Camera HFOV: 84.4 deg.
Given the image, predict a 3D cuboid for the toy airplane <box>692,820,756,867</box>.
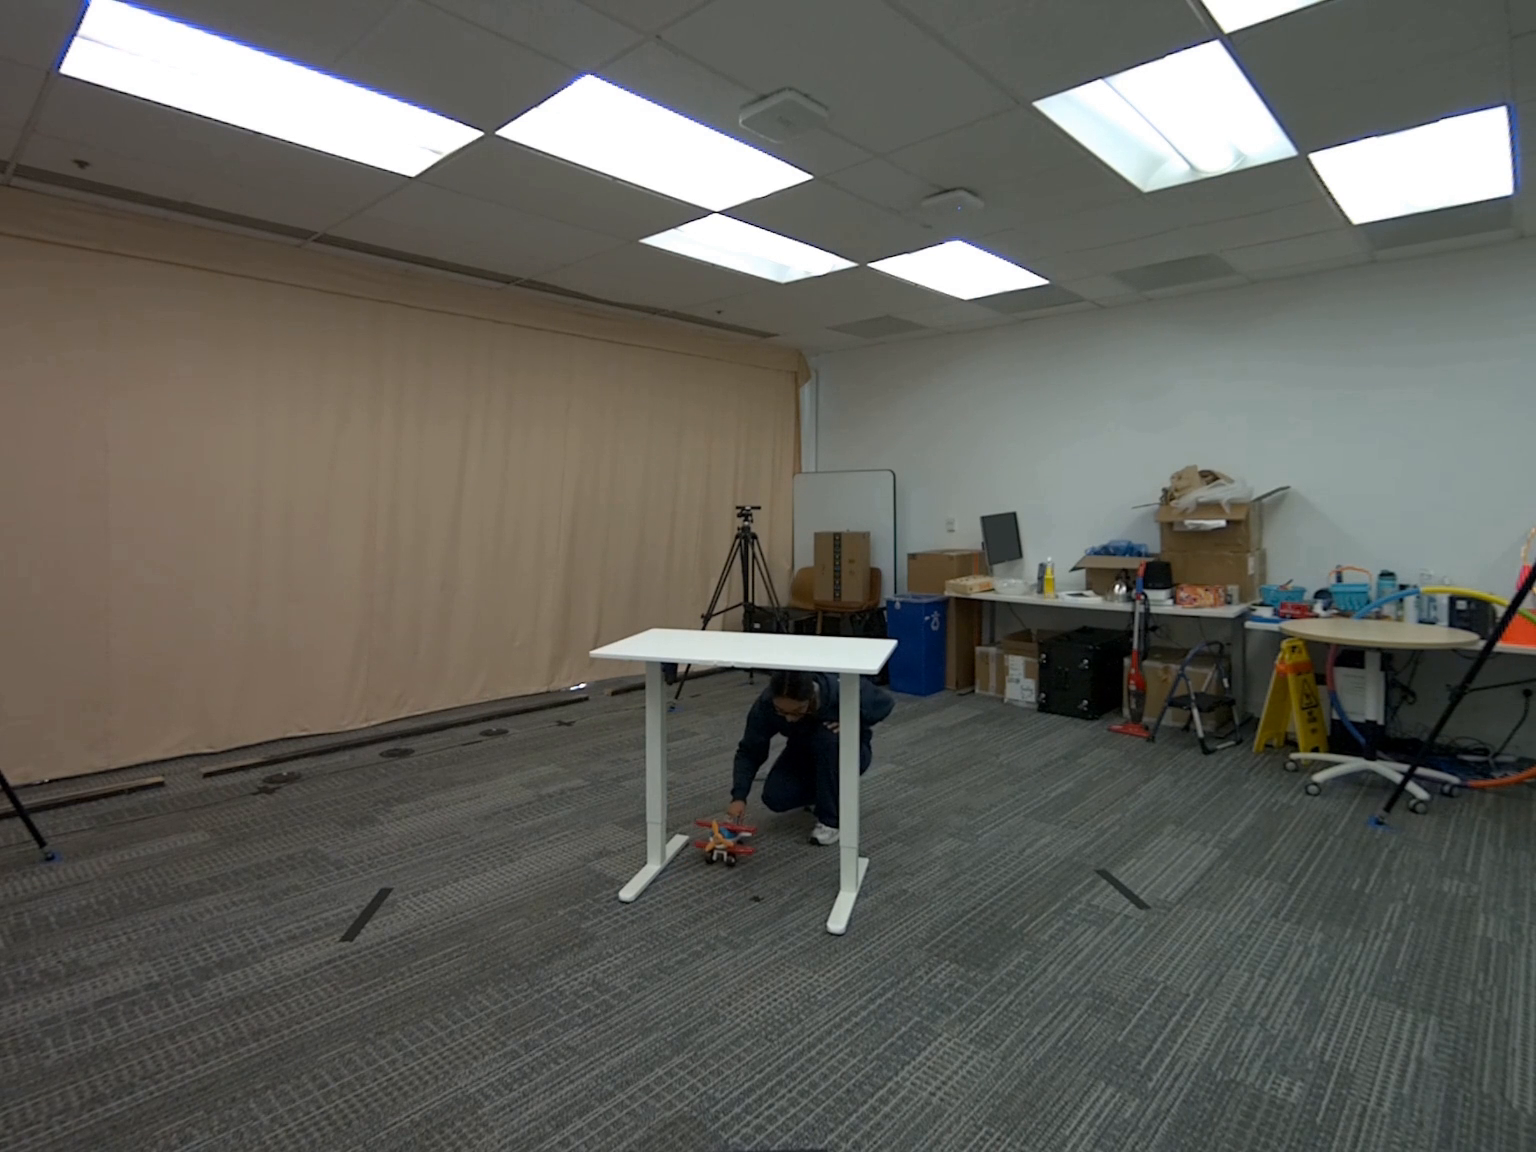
[{"bbox_3d":[-0.150,1.039,3.345,0.249,0.156,0.262,-1,6,-9],"label":"toy airplane"}]
